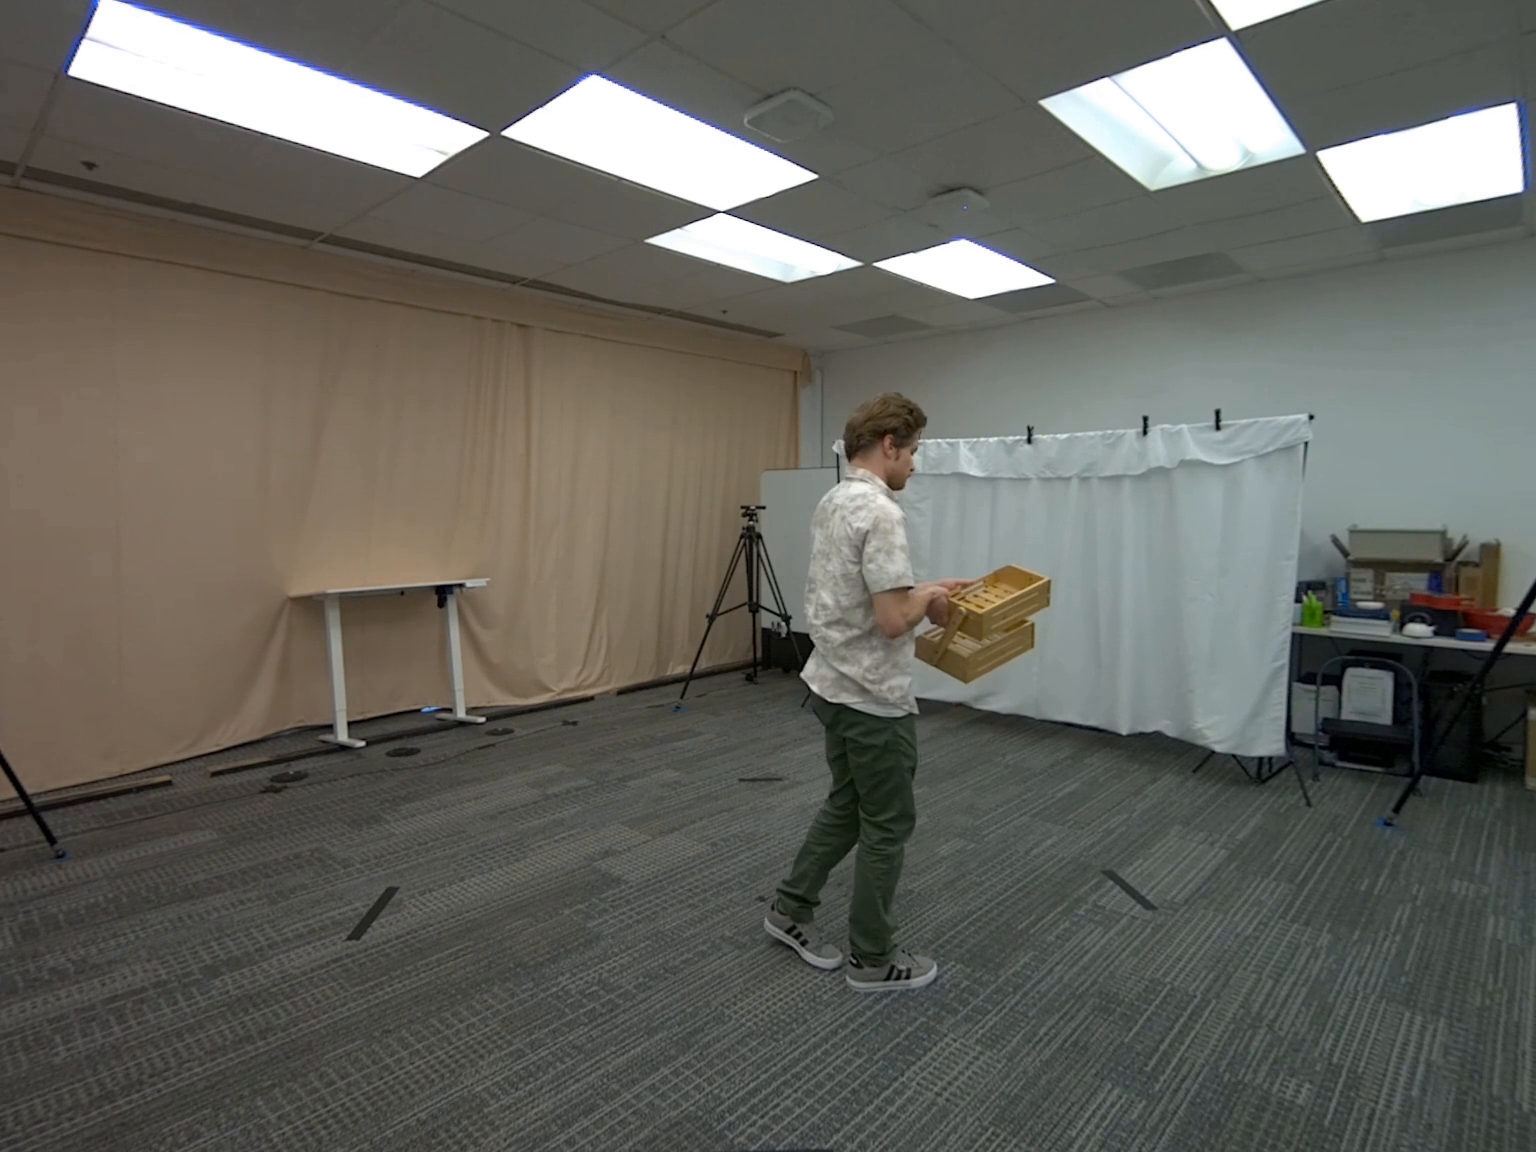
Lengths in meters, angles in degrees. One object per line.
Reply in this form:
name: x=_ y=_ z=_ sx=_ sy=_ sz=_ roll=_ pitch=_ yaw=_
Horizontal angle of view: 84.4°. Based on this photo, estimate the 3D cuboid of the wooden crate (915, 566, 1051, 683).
wooden crate: x=0.649 y=0.121 z=2.587 sx=0.318 sy=0.269 sz=0.313 roll=-21 pitch=28 yaw=-29
